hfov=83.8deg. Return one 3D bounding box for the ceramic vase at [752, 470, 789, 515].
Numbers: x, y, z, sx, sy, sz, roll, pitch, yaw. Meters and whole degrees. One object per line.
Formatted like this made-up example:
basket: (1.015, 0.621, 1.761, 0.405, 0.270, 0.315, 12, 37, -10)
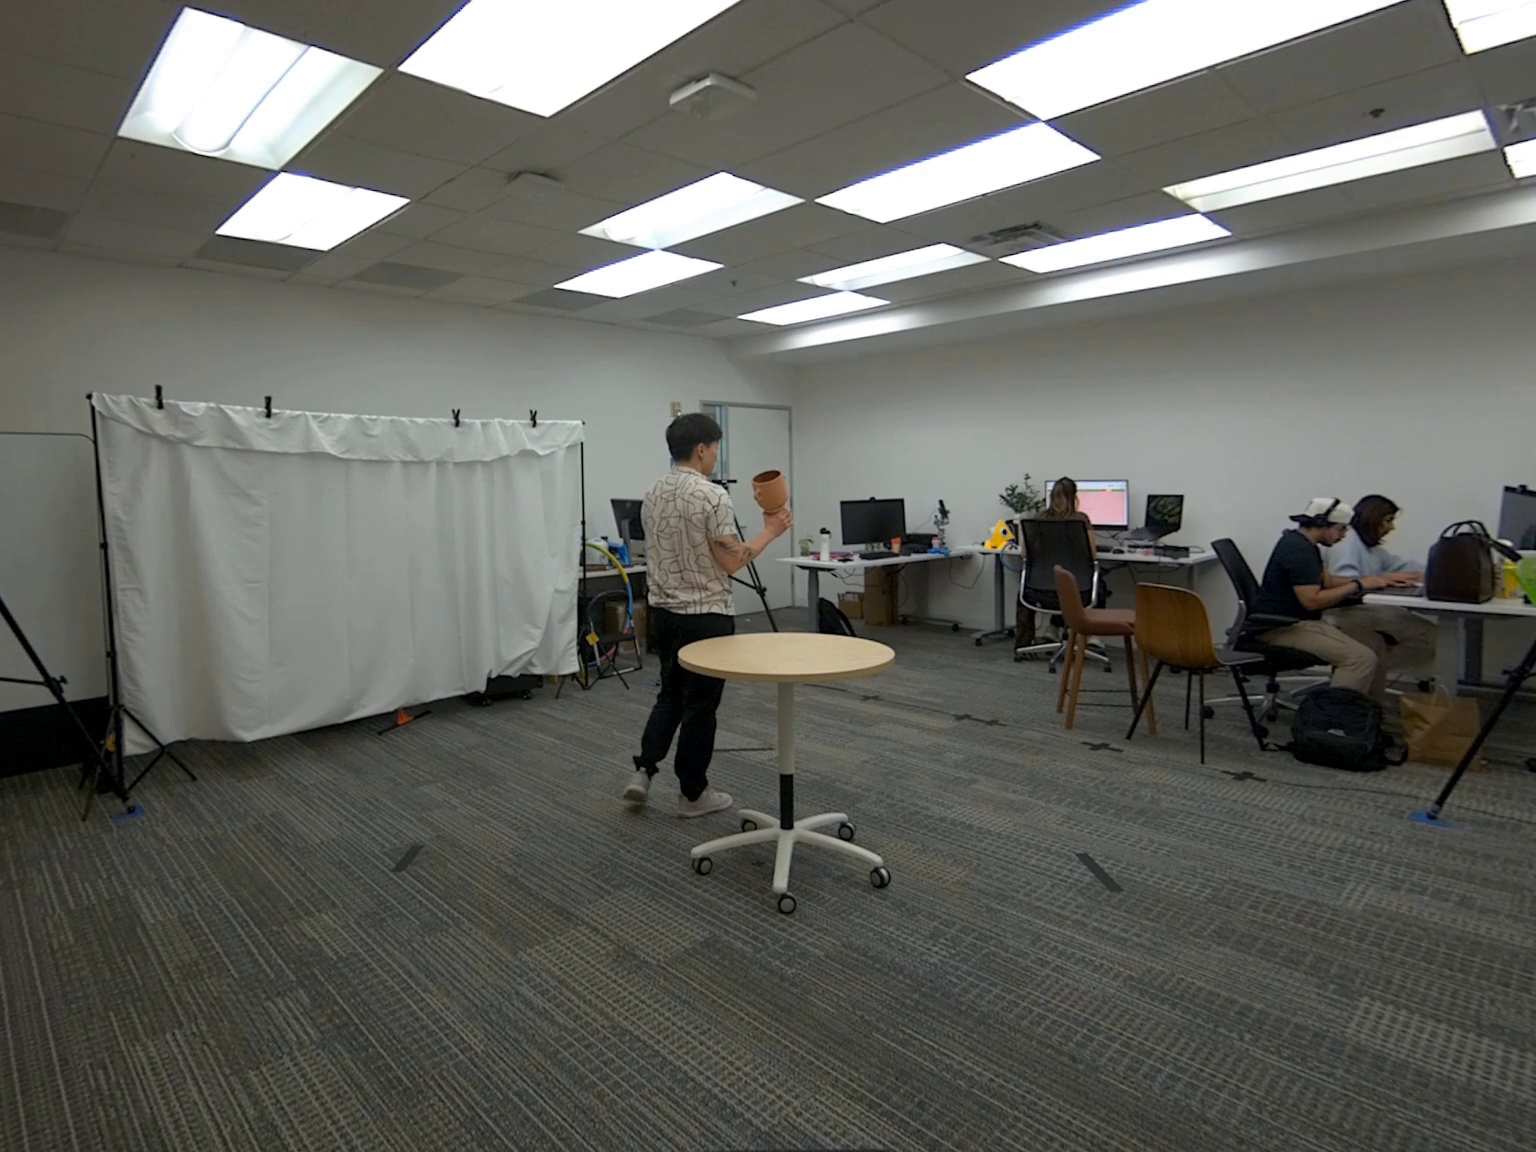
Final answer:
ceramic vase: (0.016, -0.310, 3.530, 0.158, 0.214, 0.138, -18, 25, -3)
